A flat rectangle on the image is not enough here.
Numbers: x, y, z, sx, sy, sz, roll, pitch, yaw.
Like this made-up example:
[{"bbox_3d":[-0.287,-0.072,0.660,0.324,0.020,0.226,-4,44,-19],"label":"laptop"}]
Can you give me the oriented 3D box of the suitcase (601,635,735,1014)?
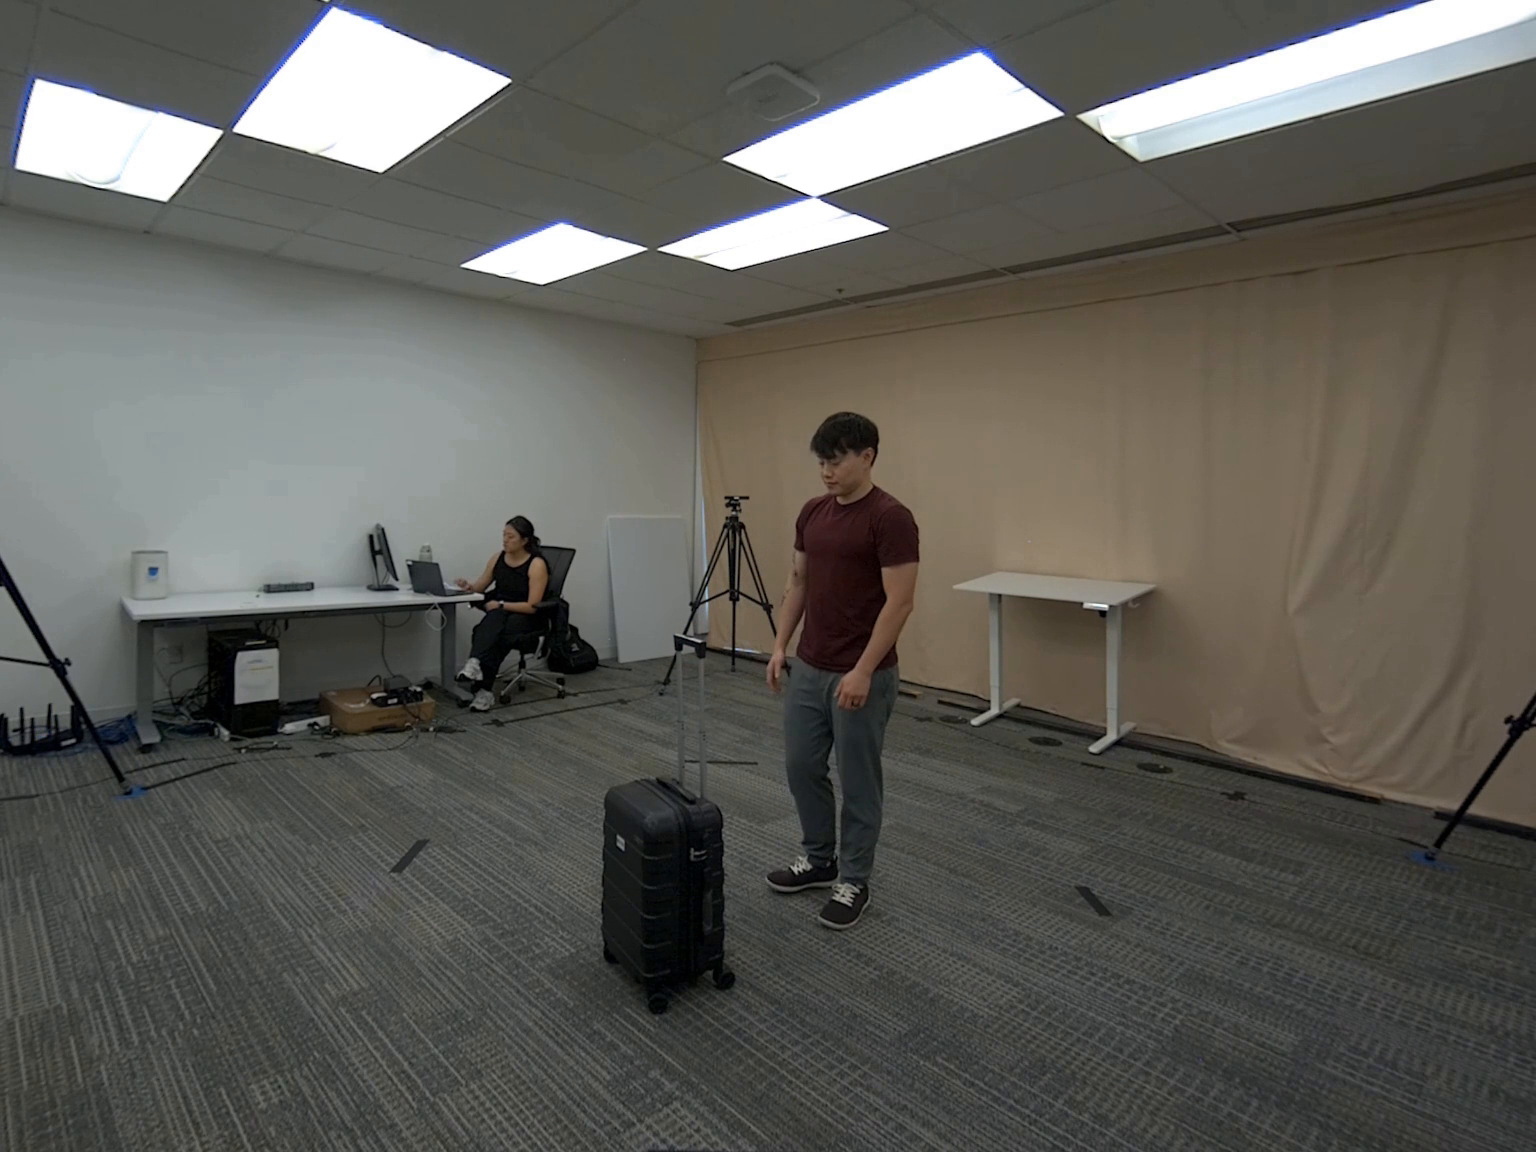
[{"bbox_3d":[-0.317,0.689,2.419,0.252,0.975,0.392,-5,5,-29],"label":"suitcase"}]
